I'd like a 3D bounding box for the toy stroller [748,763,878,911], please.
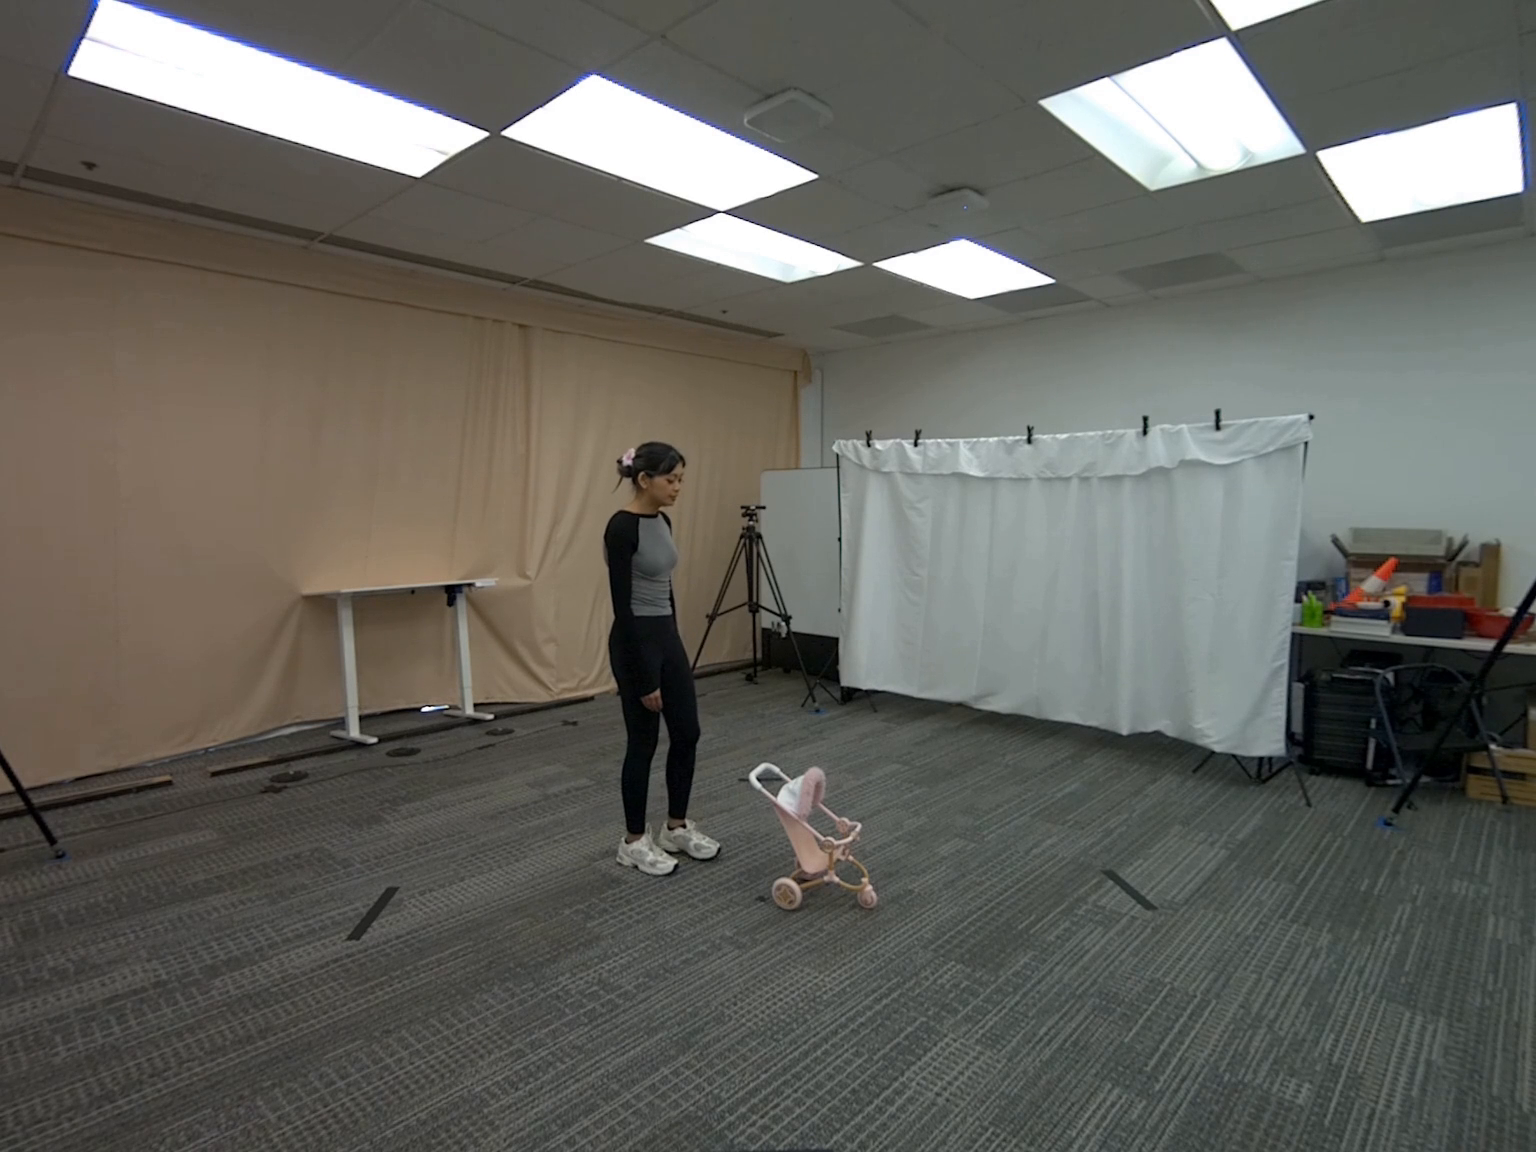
[{"bbox_3d":[0.172,0.918,2.974,0.349,0.537,0.274,-15,-4,27],"label":"toy stroller"}]
